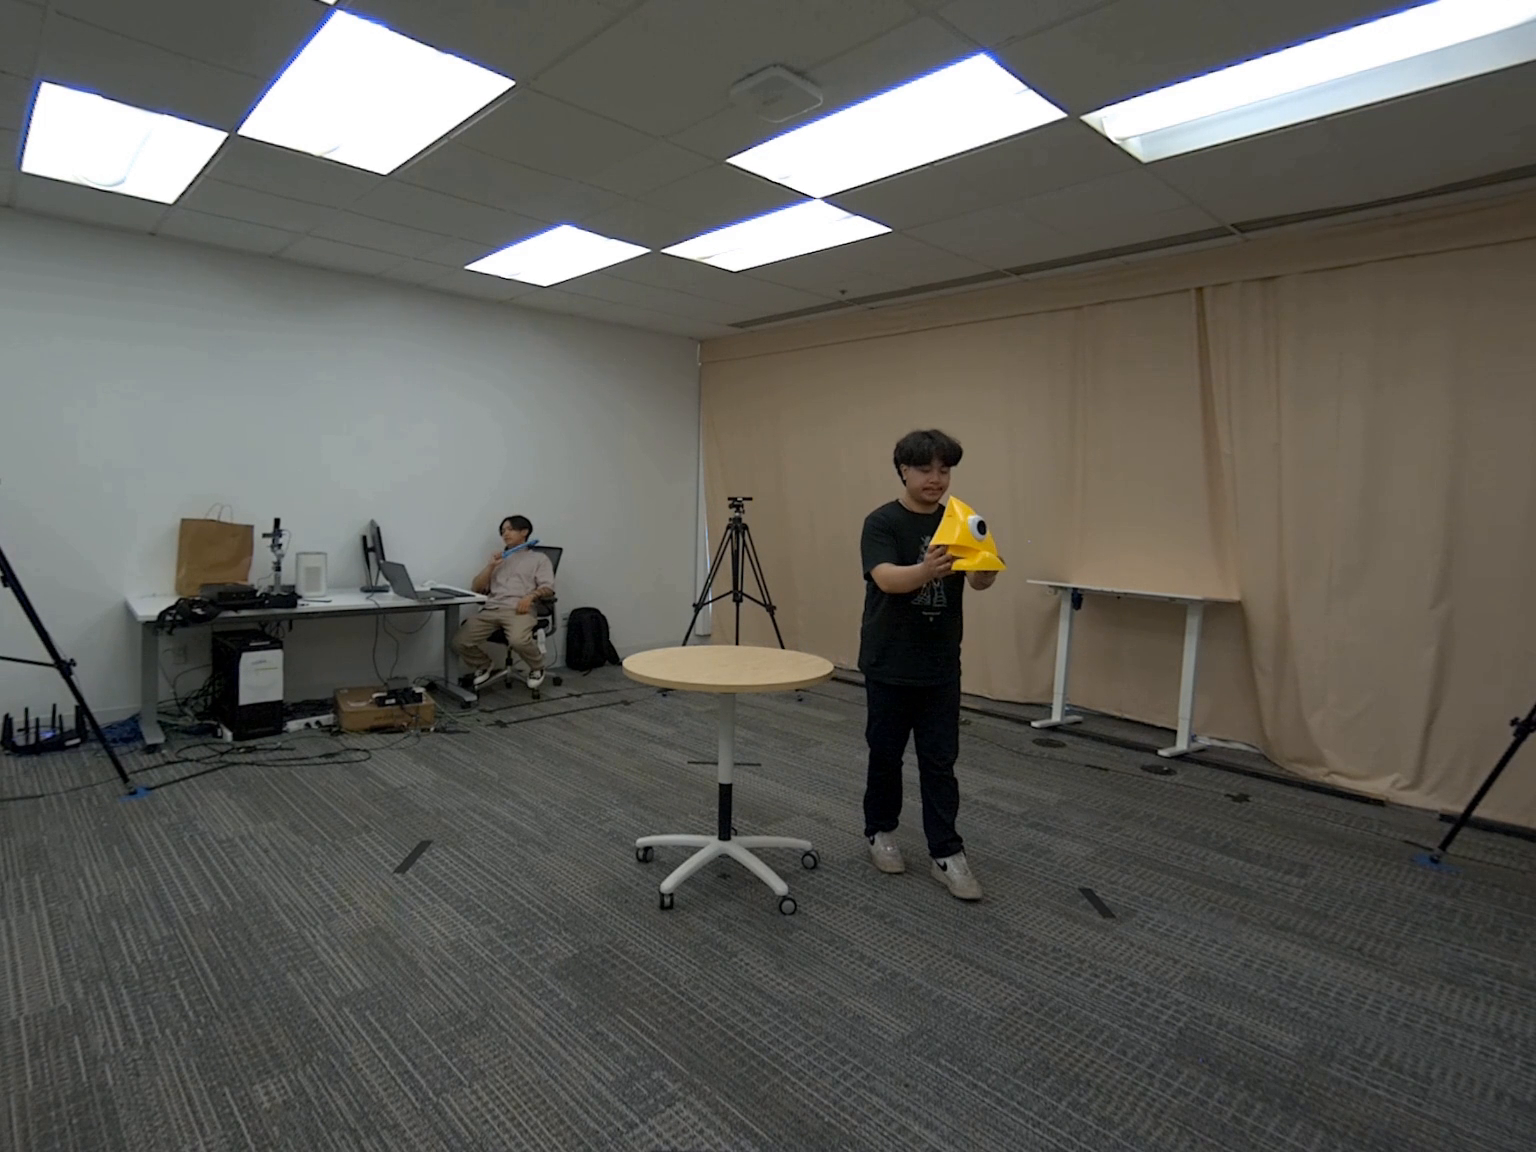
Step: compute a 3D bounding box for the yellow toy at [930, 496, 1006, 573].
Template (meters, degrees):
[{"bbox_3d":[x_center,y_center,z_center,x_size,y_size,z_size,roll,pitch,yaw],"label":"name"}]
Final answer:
[{"bbox_3d":[0.619,-0.134,2.622,0.192,0.231,0.206,0,0,-9],"label":"yellow toy"}]
